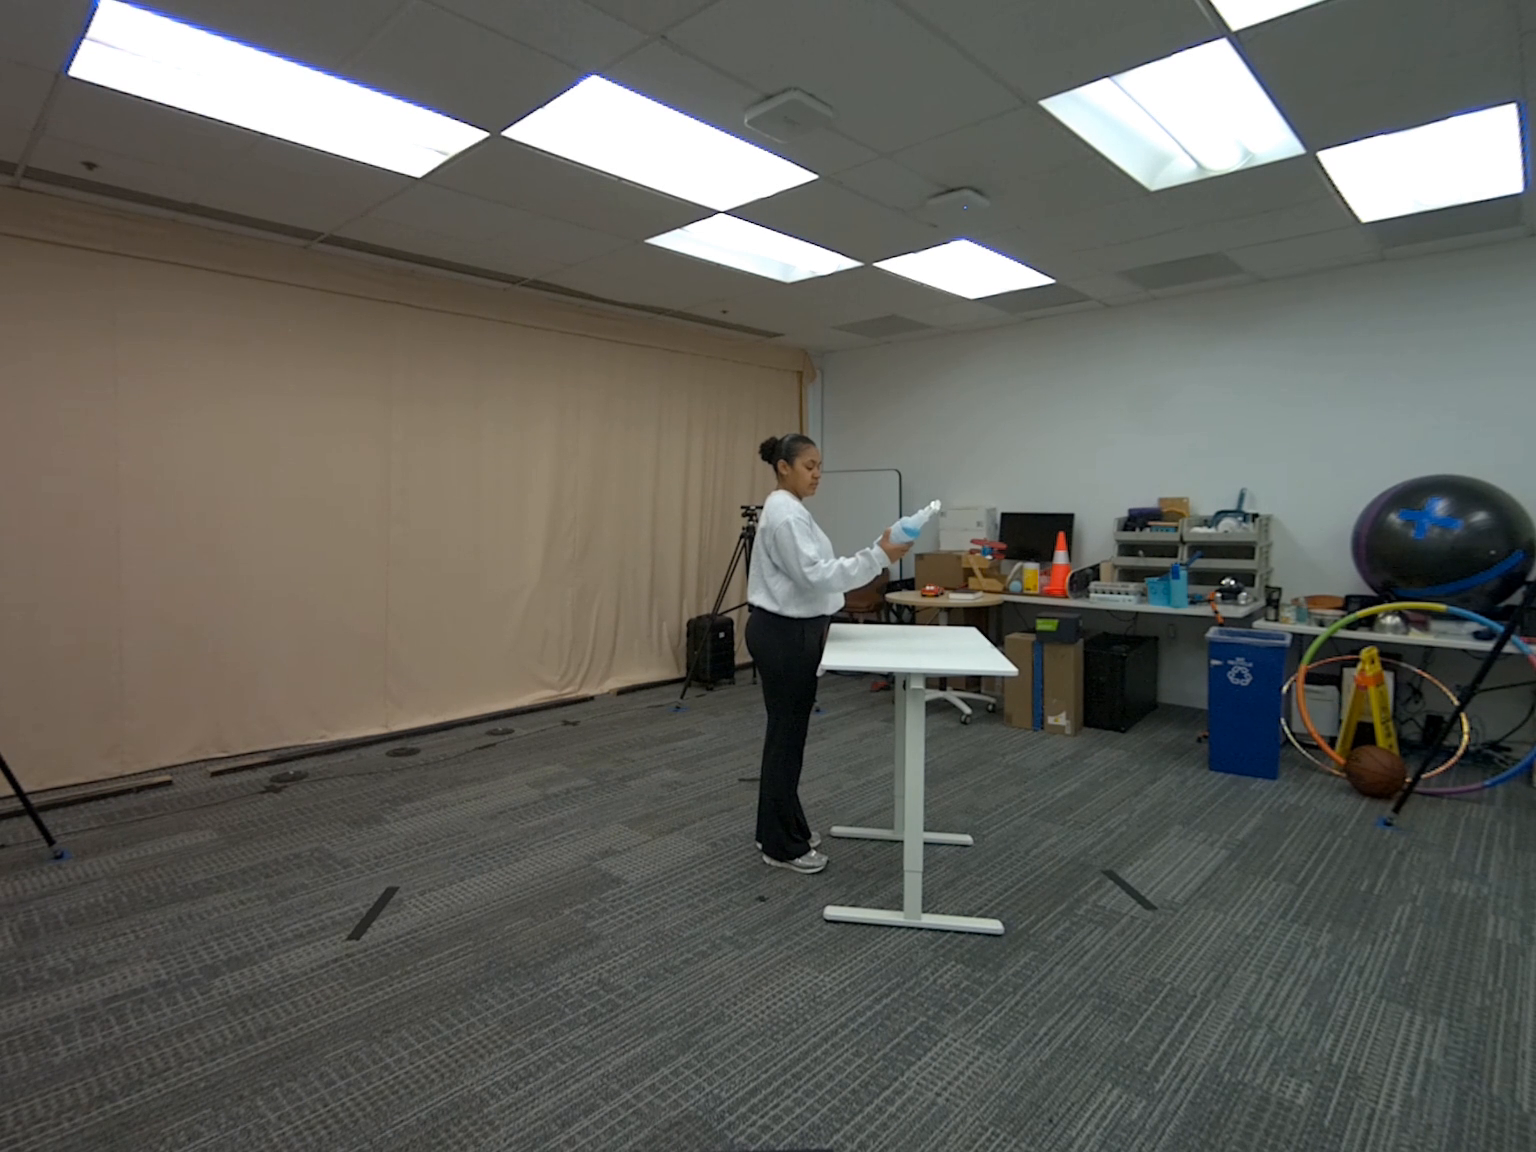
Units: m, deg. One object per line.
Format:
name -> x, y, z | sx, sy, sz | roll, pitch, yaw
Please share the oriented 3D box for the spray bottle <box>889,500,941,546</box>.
spray bottle -> 0.500, -0.160, 2.966 | 0.087, 0.089, 0.300 | -12, -26, -50
